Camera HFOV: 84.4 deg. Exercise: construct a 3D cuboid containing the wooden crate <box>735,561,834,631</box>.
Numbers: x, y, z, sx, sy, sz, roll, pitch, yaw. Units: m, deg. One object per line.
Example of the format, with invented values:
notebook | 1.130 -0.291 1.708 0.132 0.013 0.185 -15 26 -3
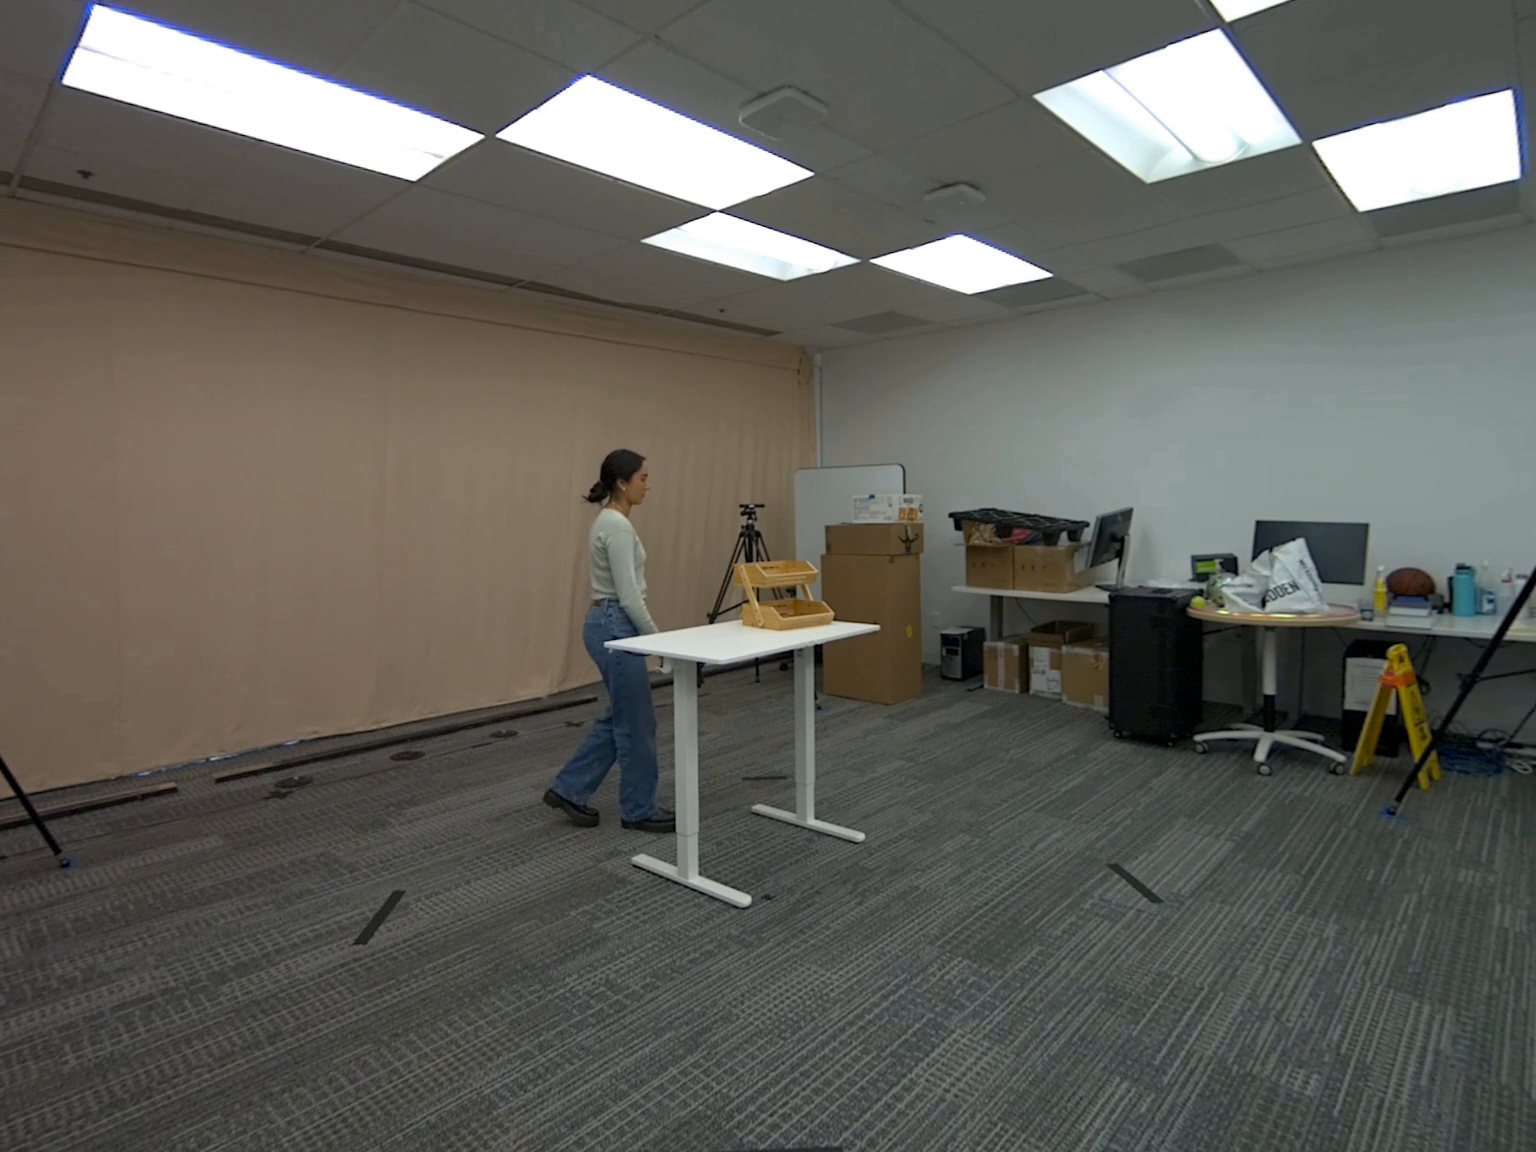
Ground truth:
wooden crate | 0.070 0.074 3.586 0.315 0.273 0.312 -4 4 -39
